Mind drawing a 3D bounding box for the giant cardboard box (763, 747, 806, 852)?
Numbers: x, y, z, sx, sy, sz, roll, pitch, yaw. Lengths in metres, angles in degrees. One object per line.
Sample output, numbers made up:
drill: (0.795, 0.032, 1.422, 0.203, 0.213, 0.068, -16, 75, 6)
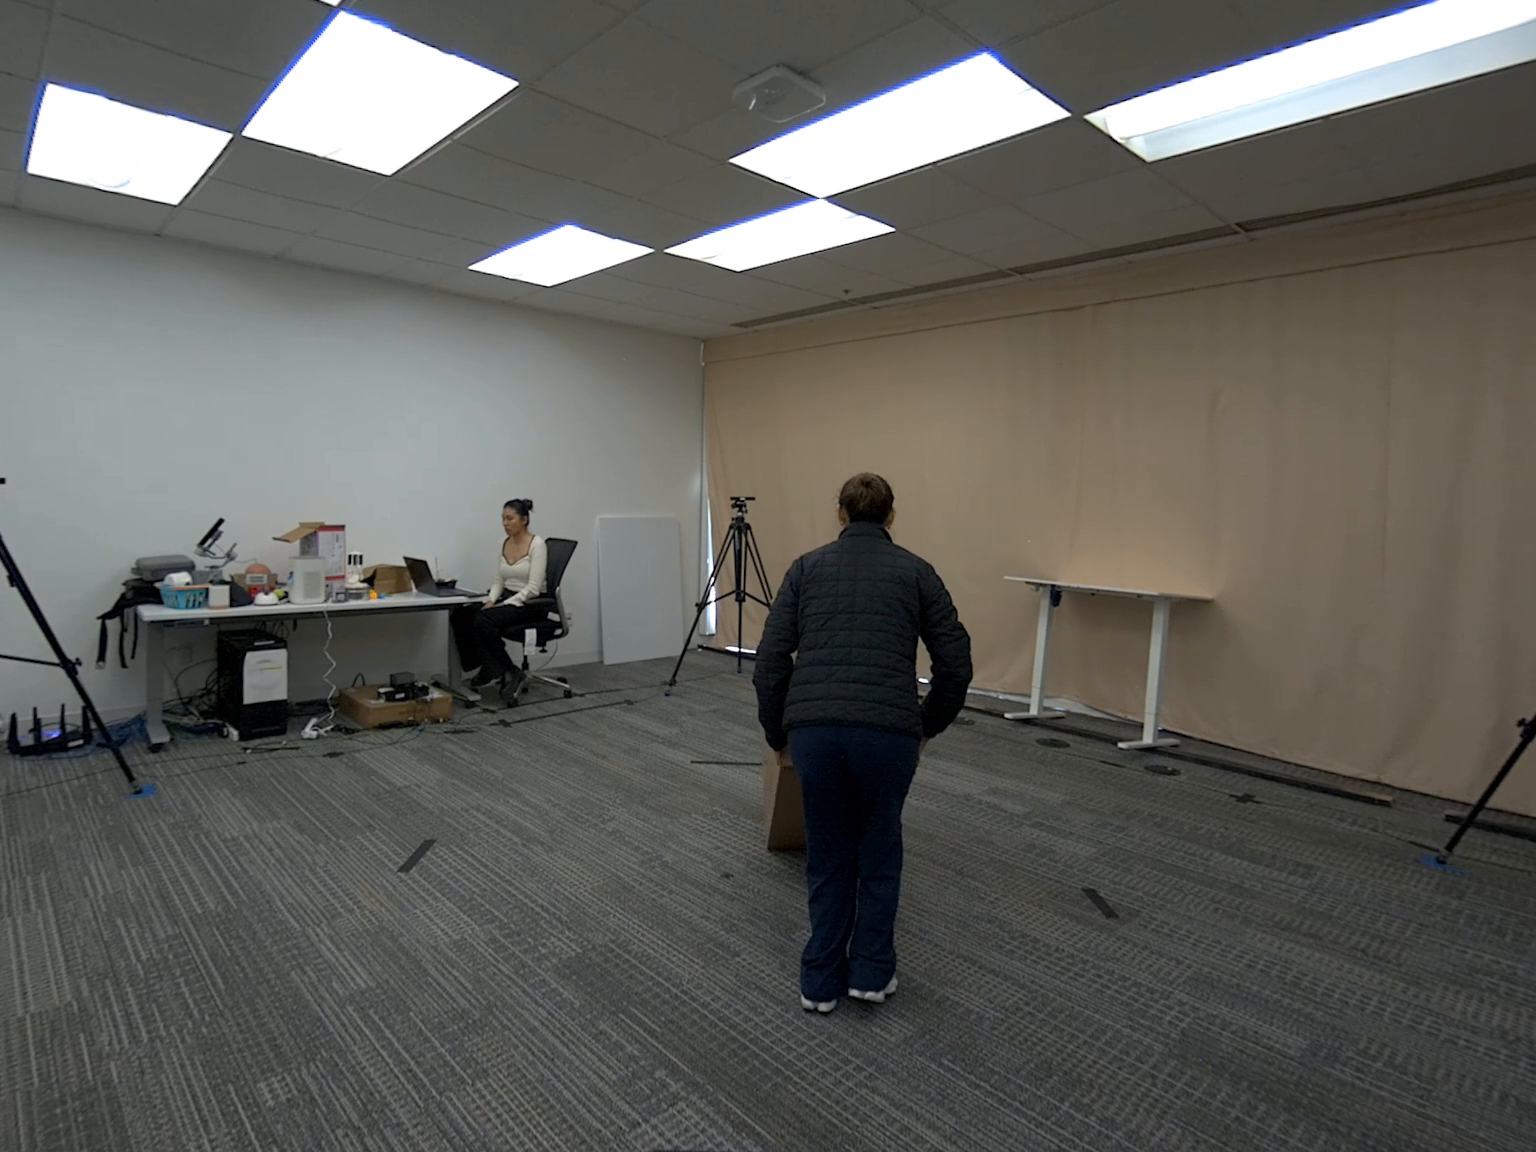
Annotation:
giant cardboard box: (0.220, 0.590, 3.078, 0.446, 0.596, 1.008, 1, -32, -3)
